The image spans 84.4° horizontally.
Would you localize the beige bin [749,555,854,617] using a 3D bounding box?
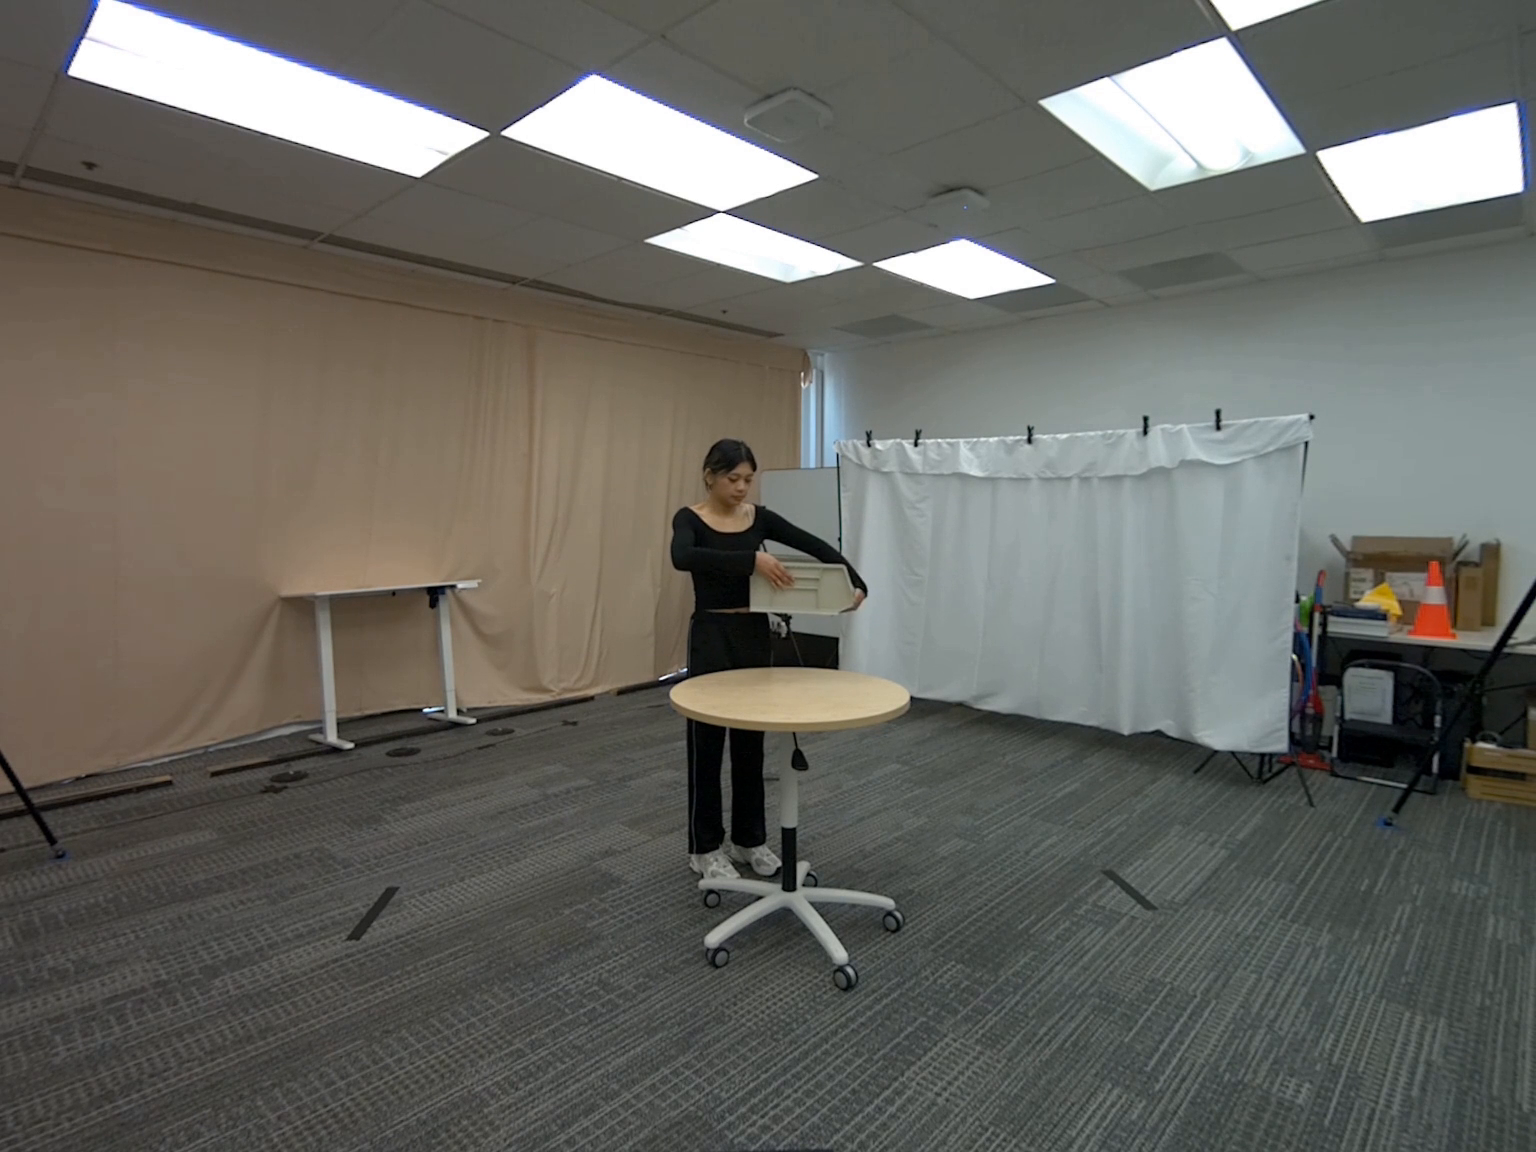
[{"bbox_3d":[0.148,0.023,3.154,0.380,0.188,0.420,2,6,6],"label":"beige bin"}]
